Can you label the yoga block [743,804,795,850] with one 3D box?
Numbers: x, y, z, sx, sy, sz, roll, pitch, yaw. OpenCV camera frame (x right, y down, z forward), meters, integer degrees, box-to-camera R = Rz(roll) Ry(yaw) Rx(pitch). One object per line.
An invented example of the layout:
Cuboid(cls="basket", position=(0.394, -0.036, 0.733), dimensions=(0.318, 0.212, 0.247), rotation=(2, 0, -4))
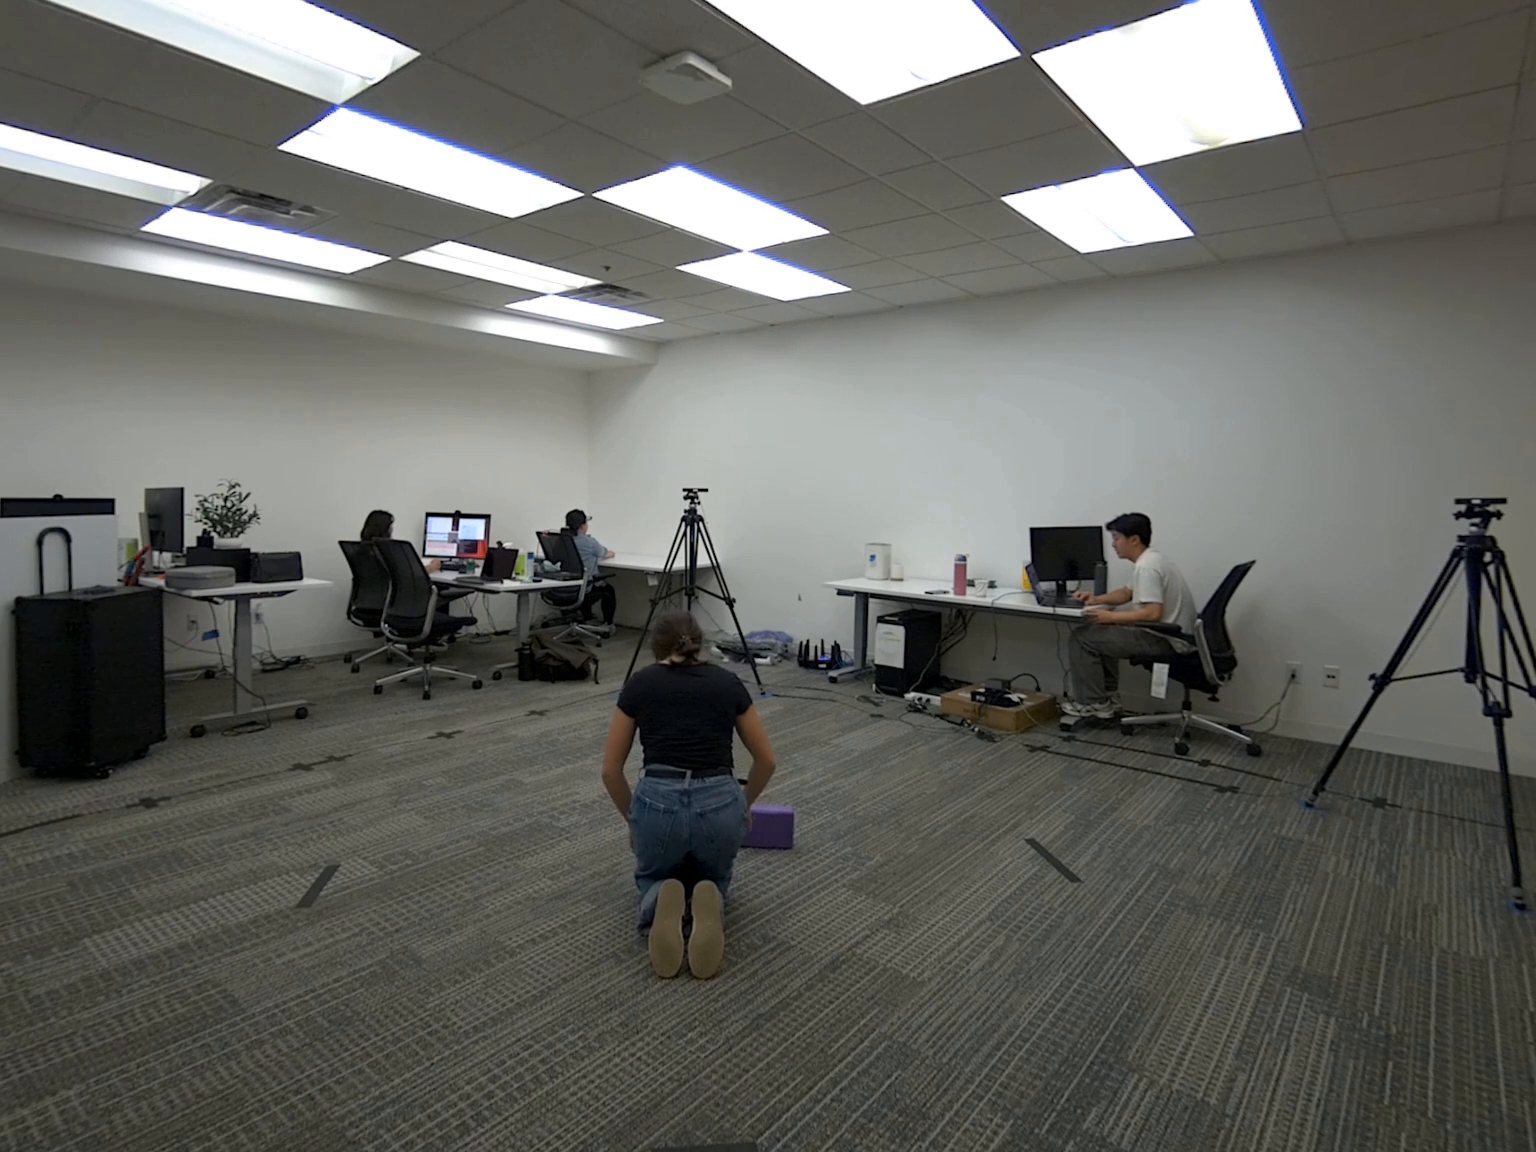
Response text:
Cuboid(cls="yoga block", position=(-0.015, 0.969, 3.333), dimensions=(0.230, 0.149, 0.076), rotation=(0, 2, 2))
